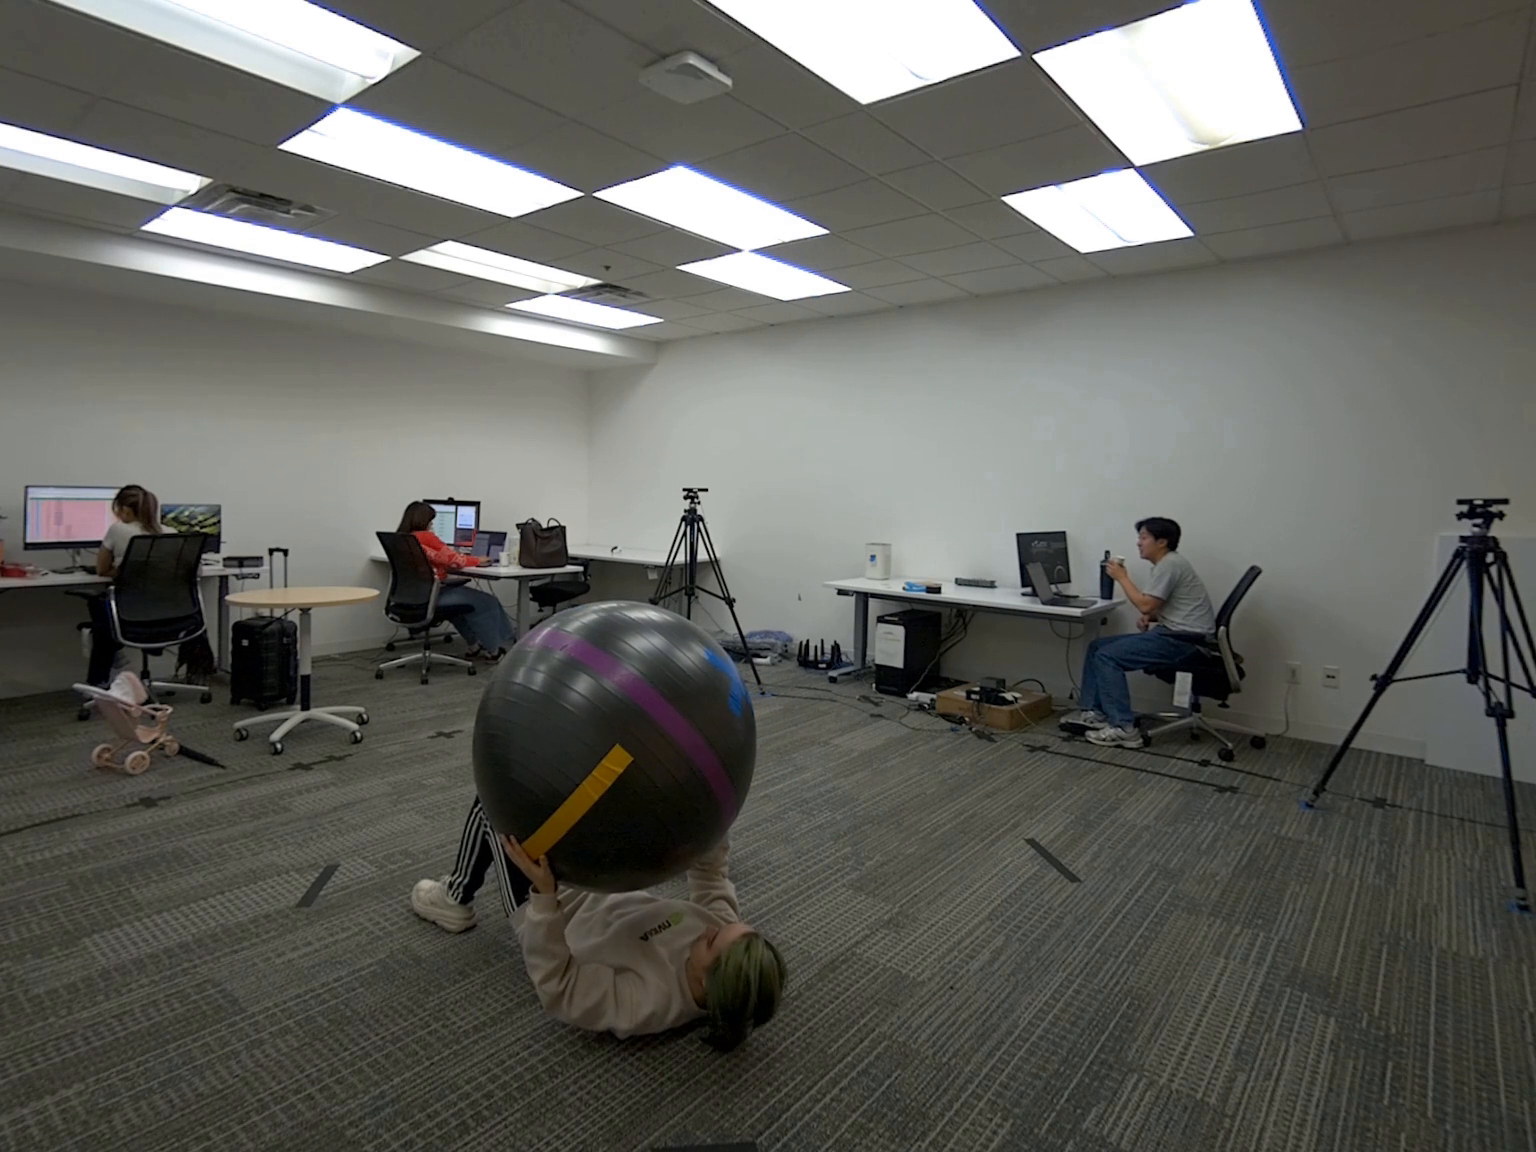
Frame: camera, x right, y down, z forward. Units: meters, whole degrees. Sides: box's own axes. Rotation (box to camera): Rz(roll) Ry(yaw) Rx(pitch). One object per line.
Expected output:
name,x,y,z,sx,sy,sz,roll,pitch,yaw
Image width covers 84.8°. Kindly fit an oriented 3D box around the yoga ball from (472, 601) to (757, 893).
yoga ball,-0.412,0.444,2.293,0.757,0.755,0.762,1,4,-2
